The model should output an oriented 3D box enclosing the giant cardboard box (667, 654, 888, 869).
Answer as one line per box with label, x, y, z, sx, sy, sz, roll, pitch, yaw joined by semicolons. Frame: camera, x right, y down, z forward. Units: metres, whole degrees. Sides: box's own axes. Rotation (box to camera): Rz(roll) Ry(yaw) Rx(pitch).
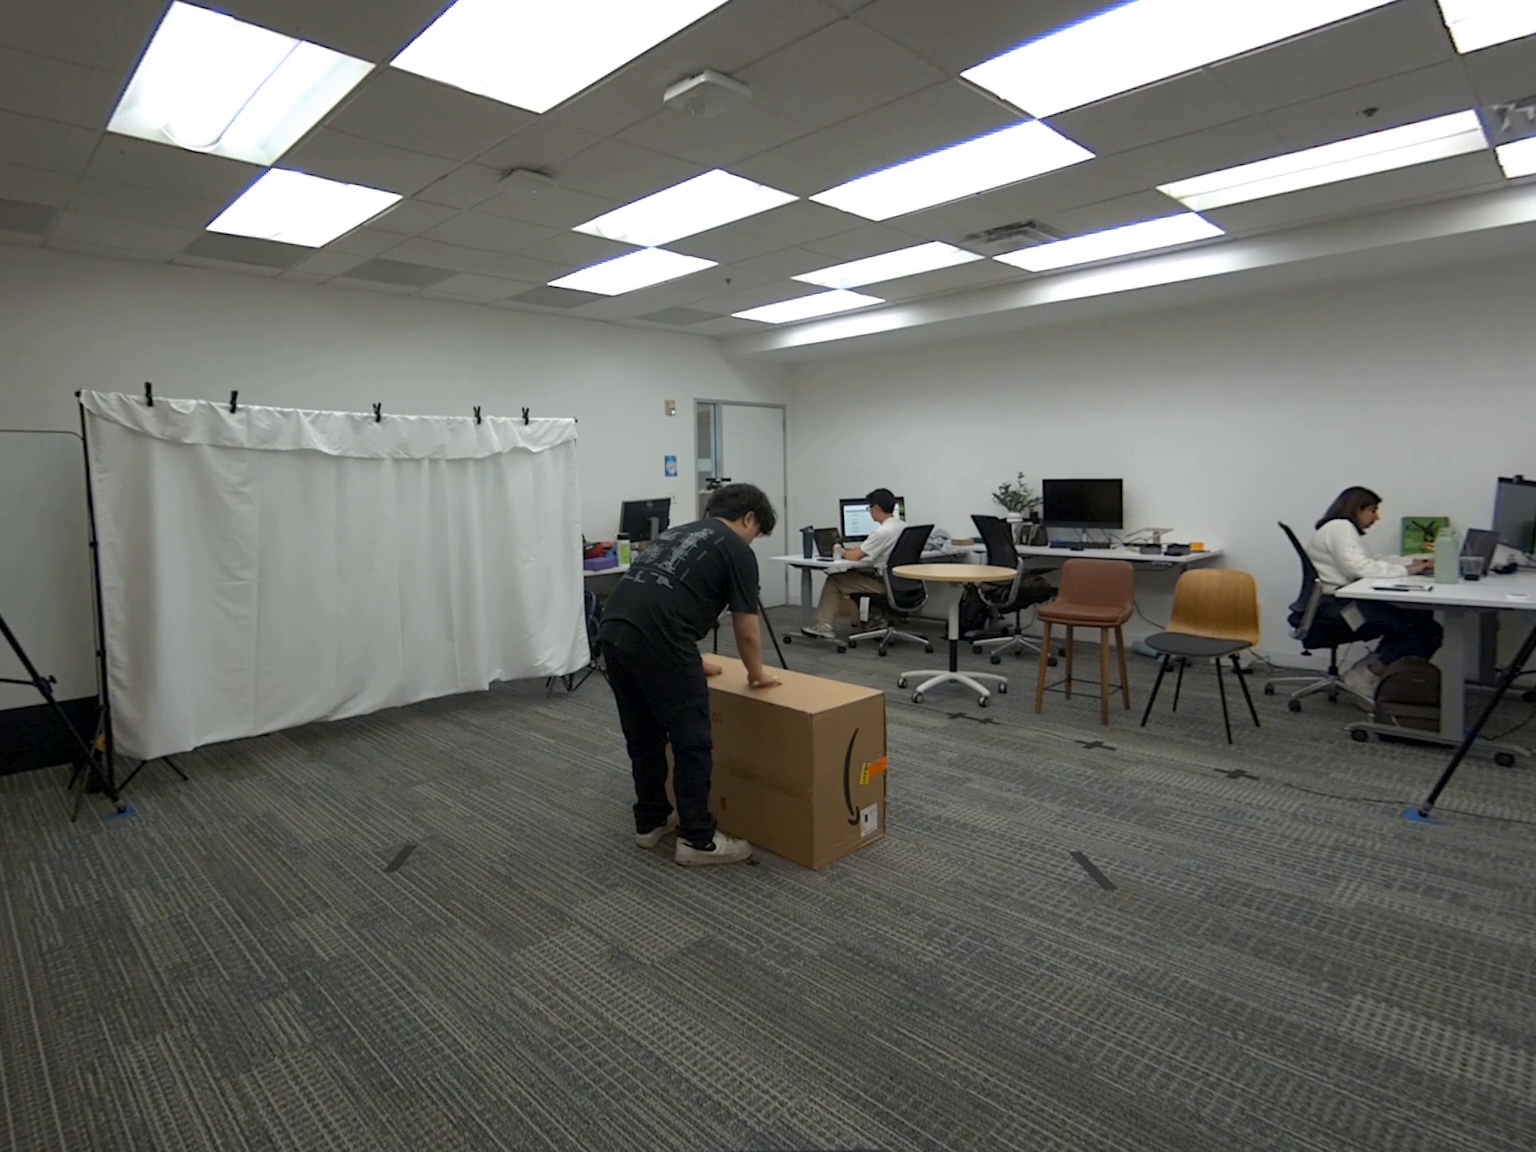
giant cardboard box;-0.053;0.710;3.531;0.435;0.582;1.059;-4;7;-44
